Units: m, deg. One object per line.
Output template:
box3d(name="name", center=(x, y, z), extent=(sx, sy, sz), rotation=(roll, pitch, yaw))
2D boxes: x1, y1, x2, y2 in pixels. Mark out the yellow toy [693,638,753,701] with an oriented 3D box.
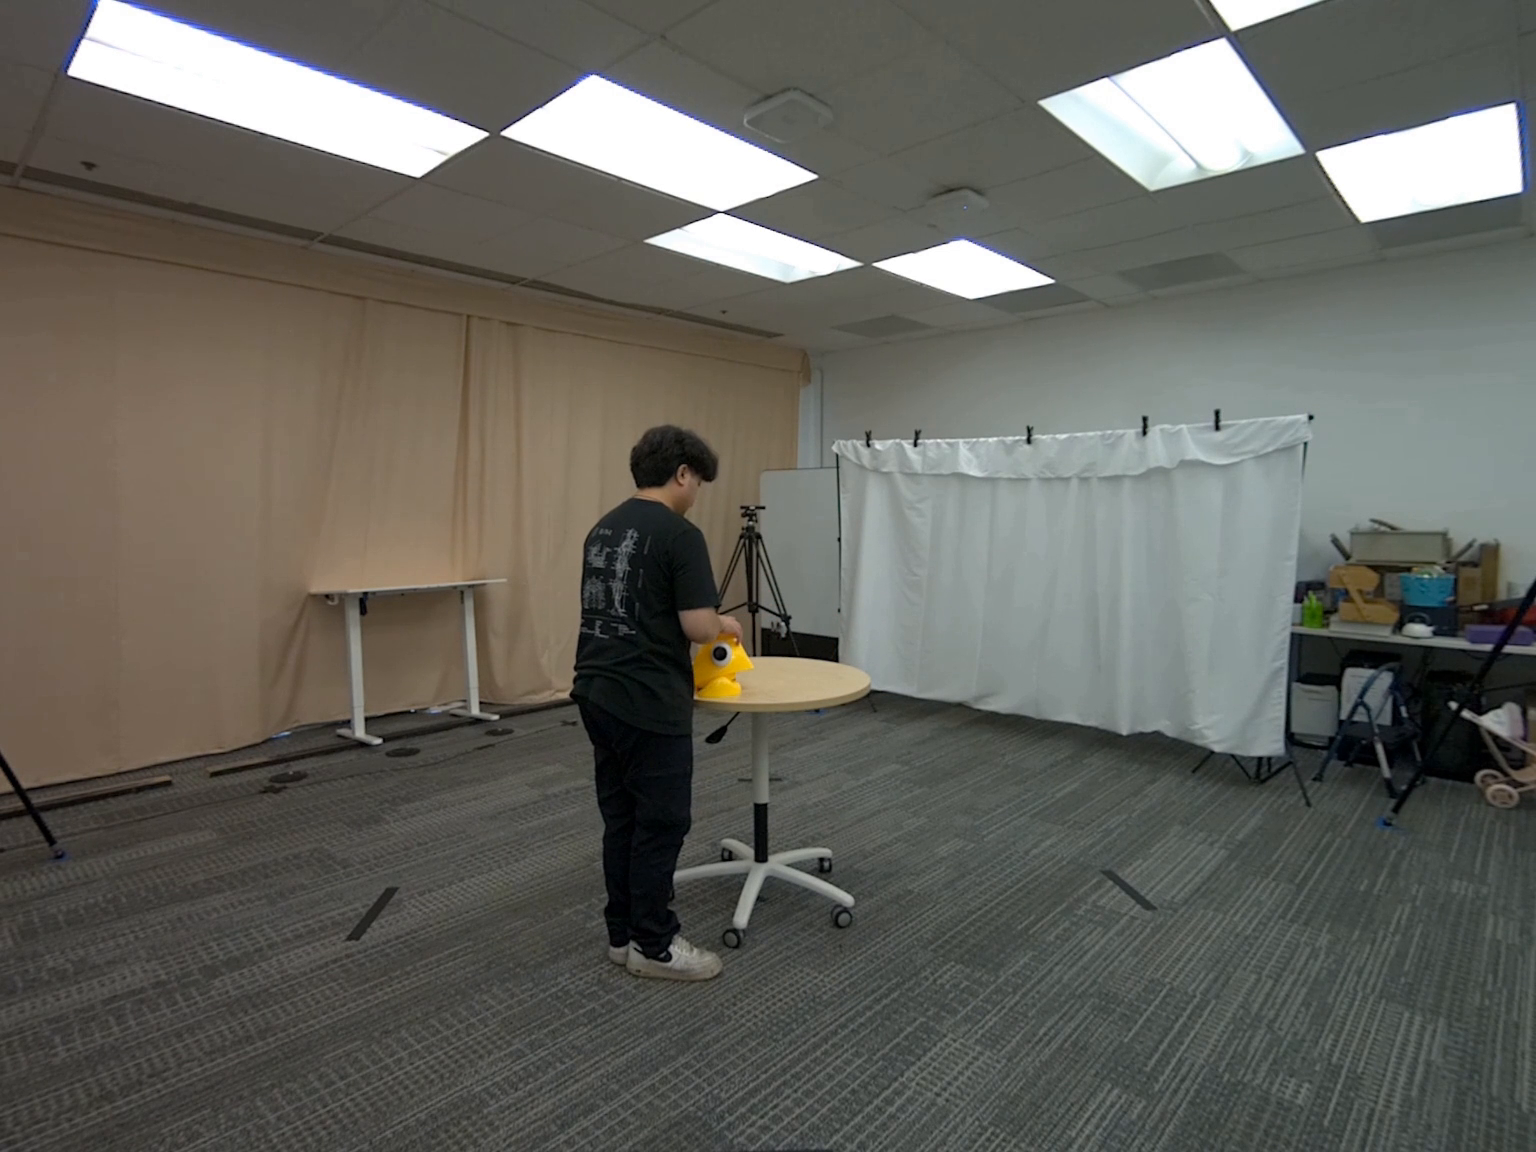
box3d(name="yellow toy", center=(-0.173, 0.261, 2.742), extent=(0.188, 0.230, 0.211), rotation=(-3, 4, -30))
